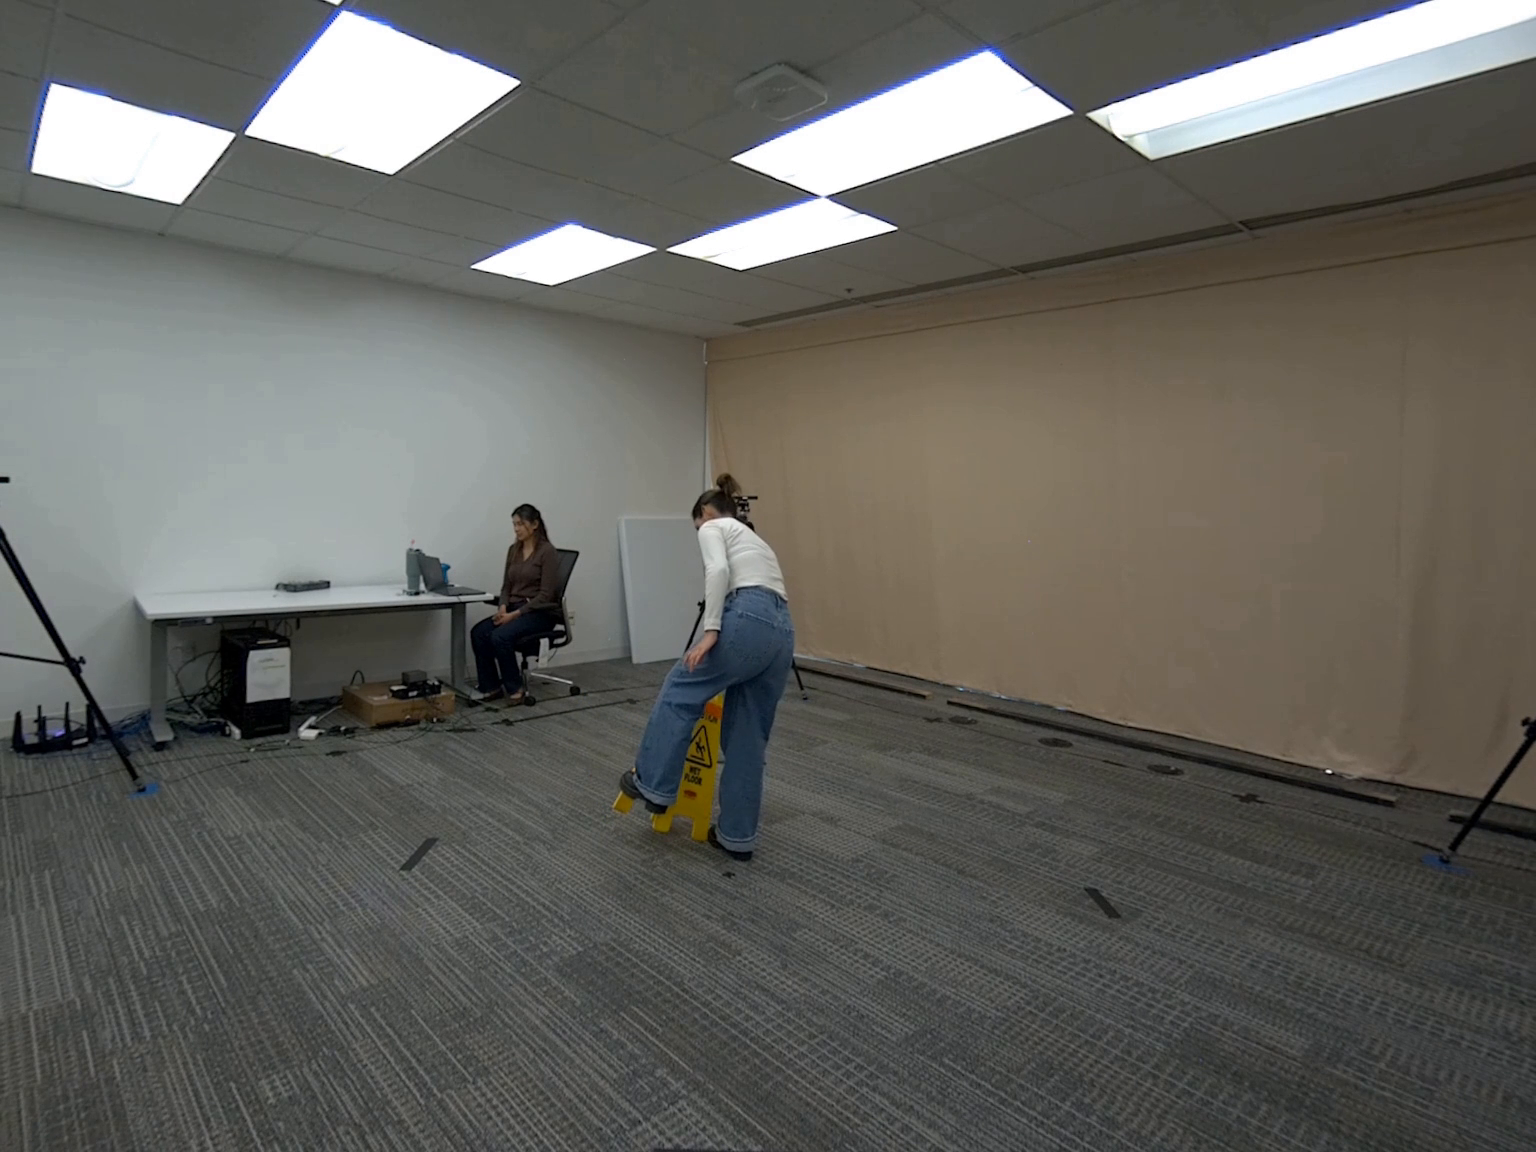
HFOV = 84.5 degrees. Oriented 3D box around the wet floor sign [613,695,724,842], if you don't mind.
[{"bbox_3d":[-0.347,0.719,3.499,0.297,0.650,0.273,4,-20,44],"label":"wet floor sign"}]
